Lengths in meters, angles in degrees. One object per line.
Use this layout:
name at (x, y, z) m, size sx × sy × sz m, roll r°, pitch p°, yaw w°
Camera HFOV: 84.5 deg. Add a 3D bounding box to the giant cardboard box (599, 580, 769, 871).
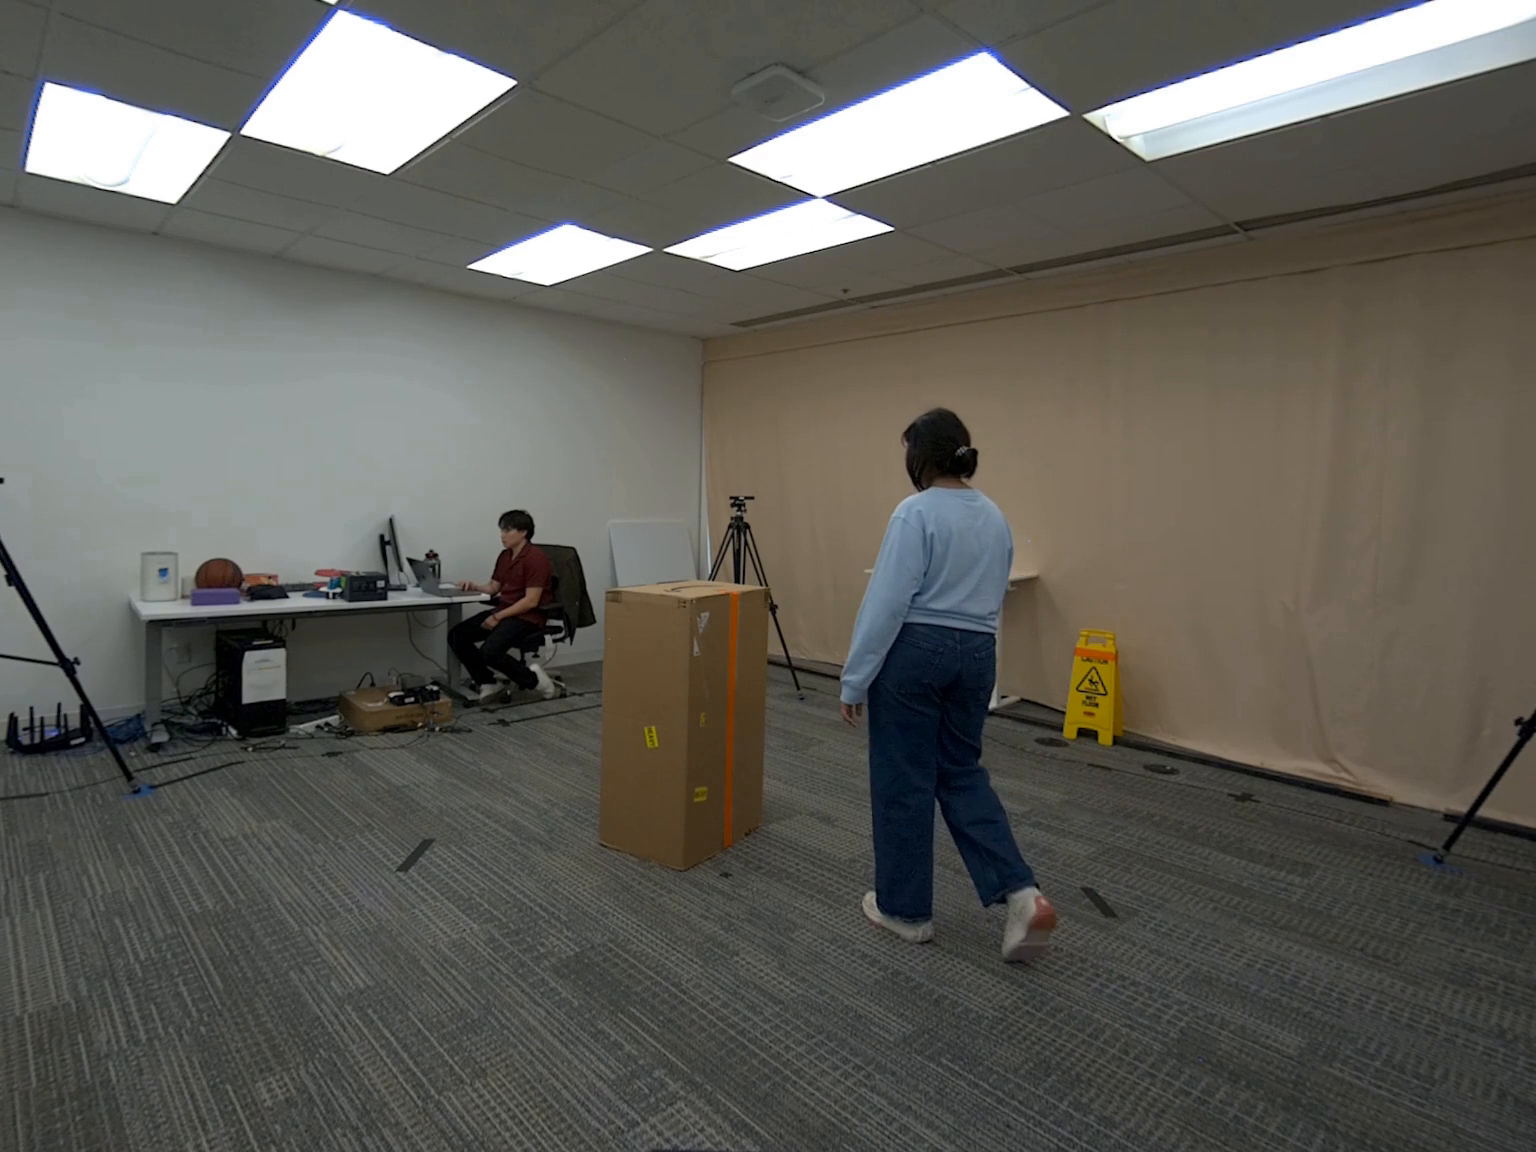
giant cardboard box at (-0.334, 0.560, 3.454) m, size 0.436 × 1.023 × 0.565 m, roll 4°, pitch 4°, yaw 32°
